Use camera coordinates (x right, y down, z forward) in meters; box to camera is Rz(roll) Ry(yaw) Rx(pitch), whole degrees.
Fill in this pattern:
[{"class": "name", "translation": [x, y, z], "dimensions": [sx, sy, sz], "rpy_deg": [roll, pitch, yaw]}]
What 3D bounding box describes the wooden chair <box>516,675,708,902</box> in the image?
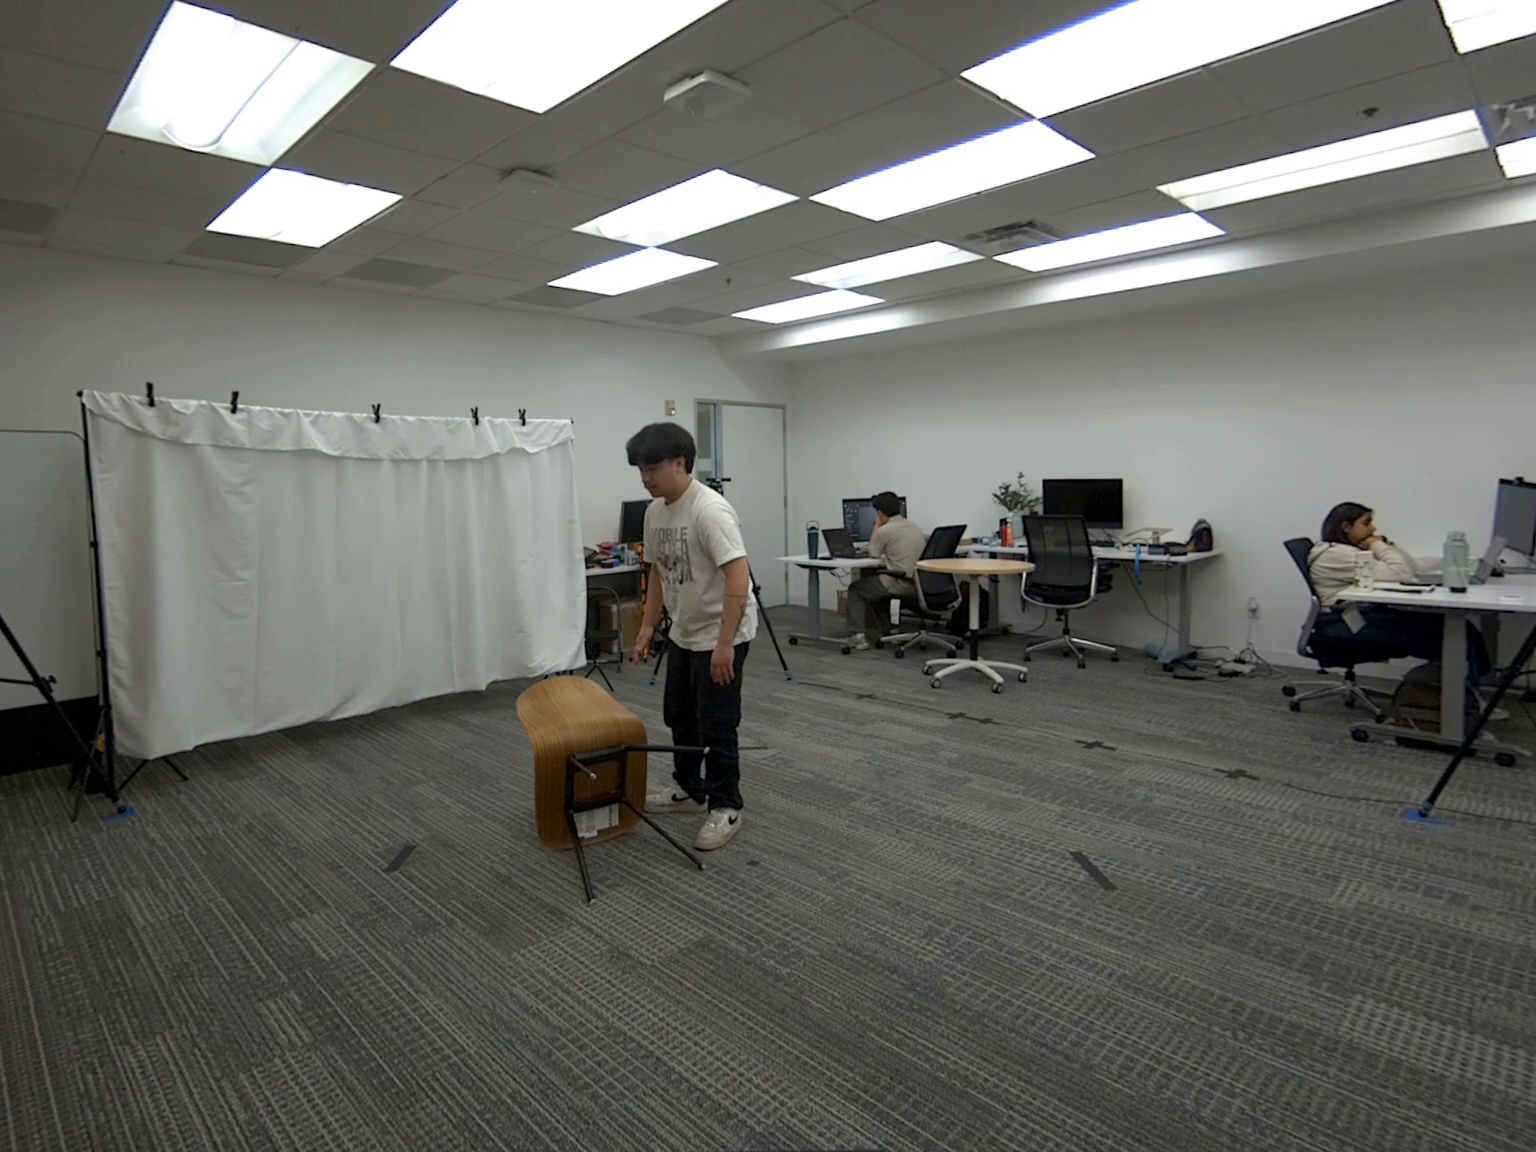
[{"class": "wooden chair", "translation": [-0.650, 0.783, 3.257], "dimensions": [0.466, 0.518, 0.908], "rpy_deg": [-5, 16, -35]}]
